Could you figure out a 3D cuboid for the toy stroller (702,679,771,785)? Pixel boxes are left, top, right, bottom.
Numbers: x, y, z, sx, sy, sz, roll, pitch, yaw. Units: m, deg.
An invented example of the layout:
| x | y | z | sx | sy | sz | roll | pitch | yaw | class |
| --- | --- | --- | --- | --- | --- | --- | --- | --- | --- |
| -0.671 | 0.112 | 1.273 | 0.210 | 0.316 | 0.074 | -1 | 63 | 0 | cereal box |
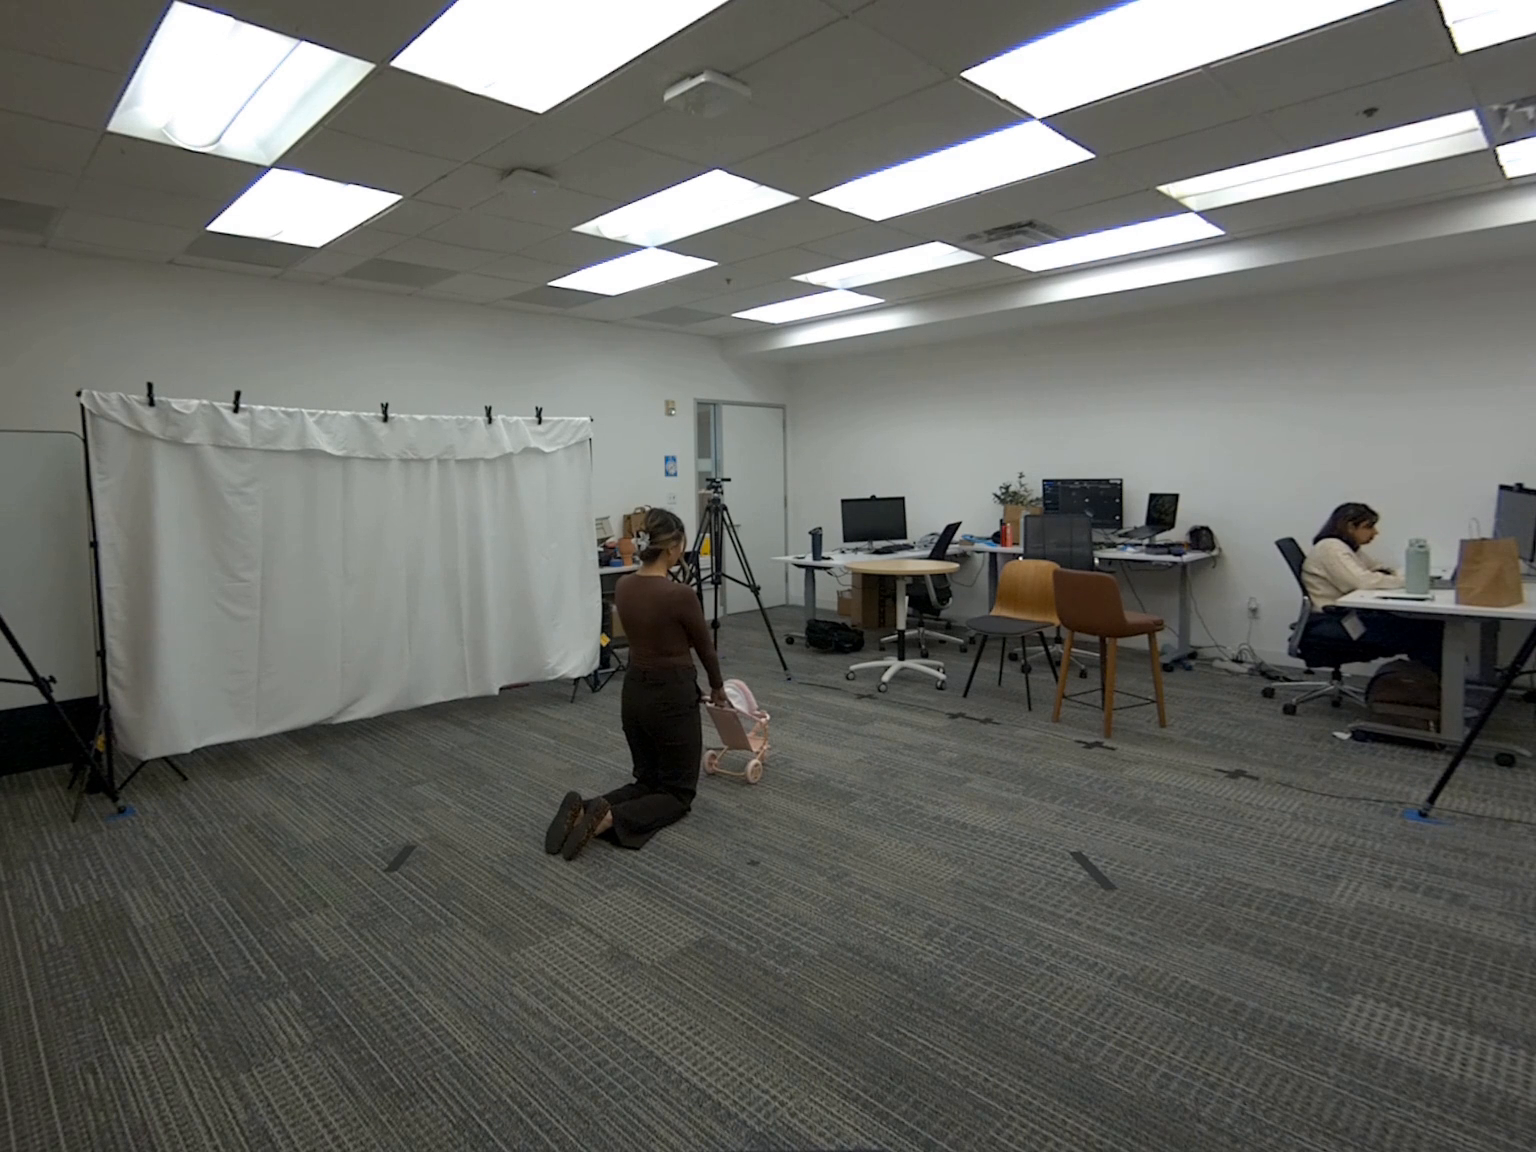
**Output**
| x | y | z | sx | sy | sz | roll | pitch | yaw | class |
| --- | --- | --- | --- | --- | --- | --- | --- | --- | --- |
| -0.136 | 0.717 | 4.029 | 0.290 | 0.525 | 0.337 | 3 | 23 | 39 | toy stroller |
